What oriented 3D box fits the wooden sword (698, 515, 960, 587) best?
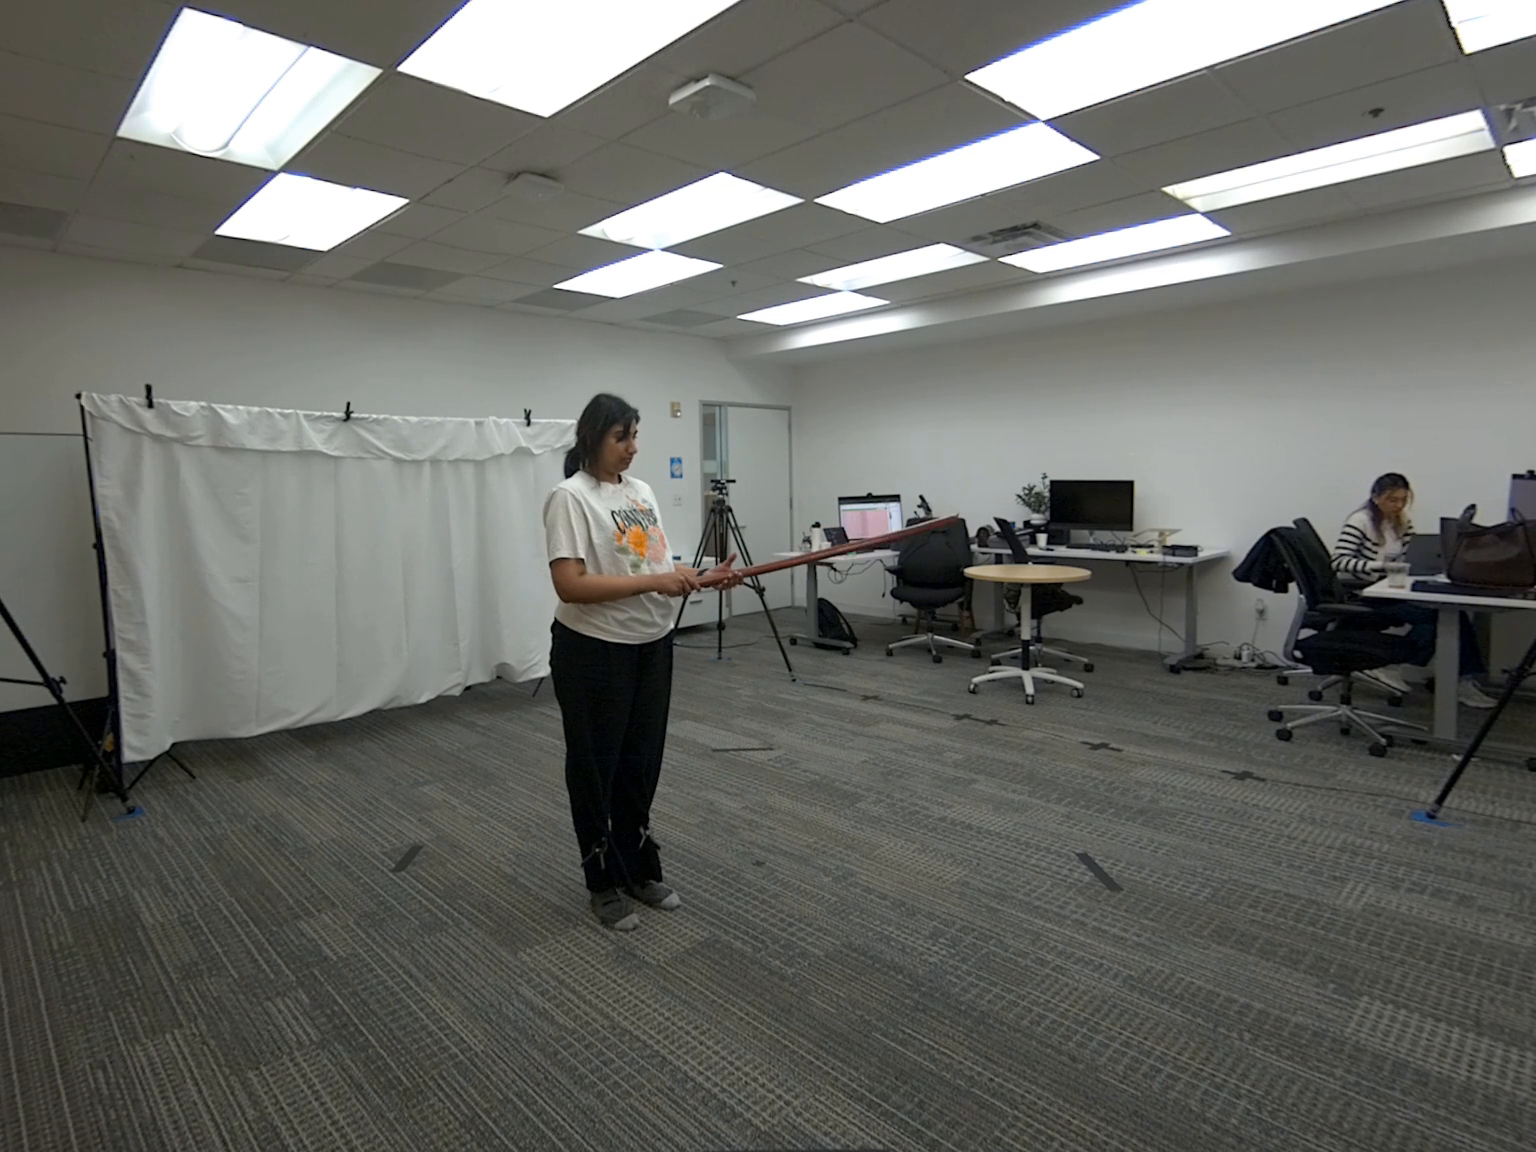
[{"bbox_3d":[0.120,-0.057,2.724,1.022,0.052,0.023,-15,-18,-3],"label":"wooden sword"}]
